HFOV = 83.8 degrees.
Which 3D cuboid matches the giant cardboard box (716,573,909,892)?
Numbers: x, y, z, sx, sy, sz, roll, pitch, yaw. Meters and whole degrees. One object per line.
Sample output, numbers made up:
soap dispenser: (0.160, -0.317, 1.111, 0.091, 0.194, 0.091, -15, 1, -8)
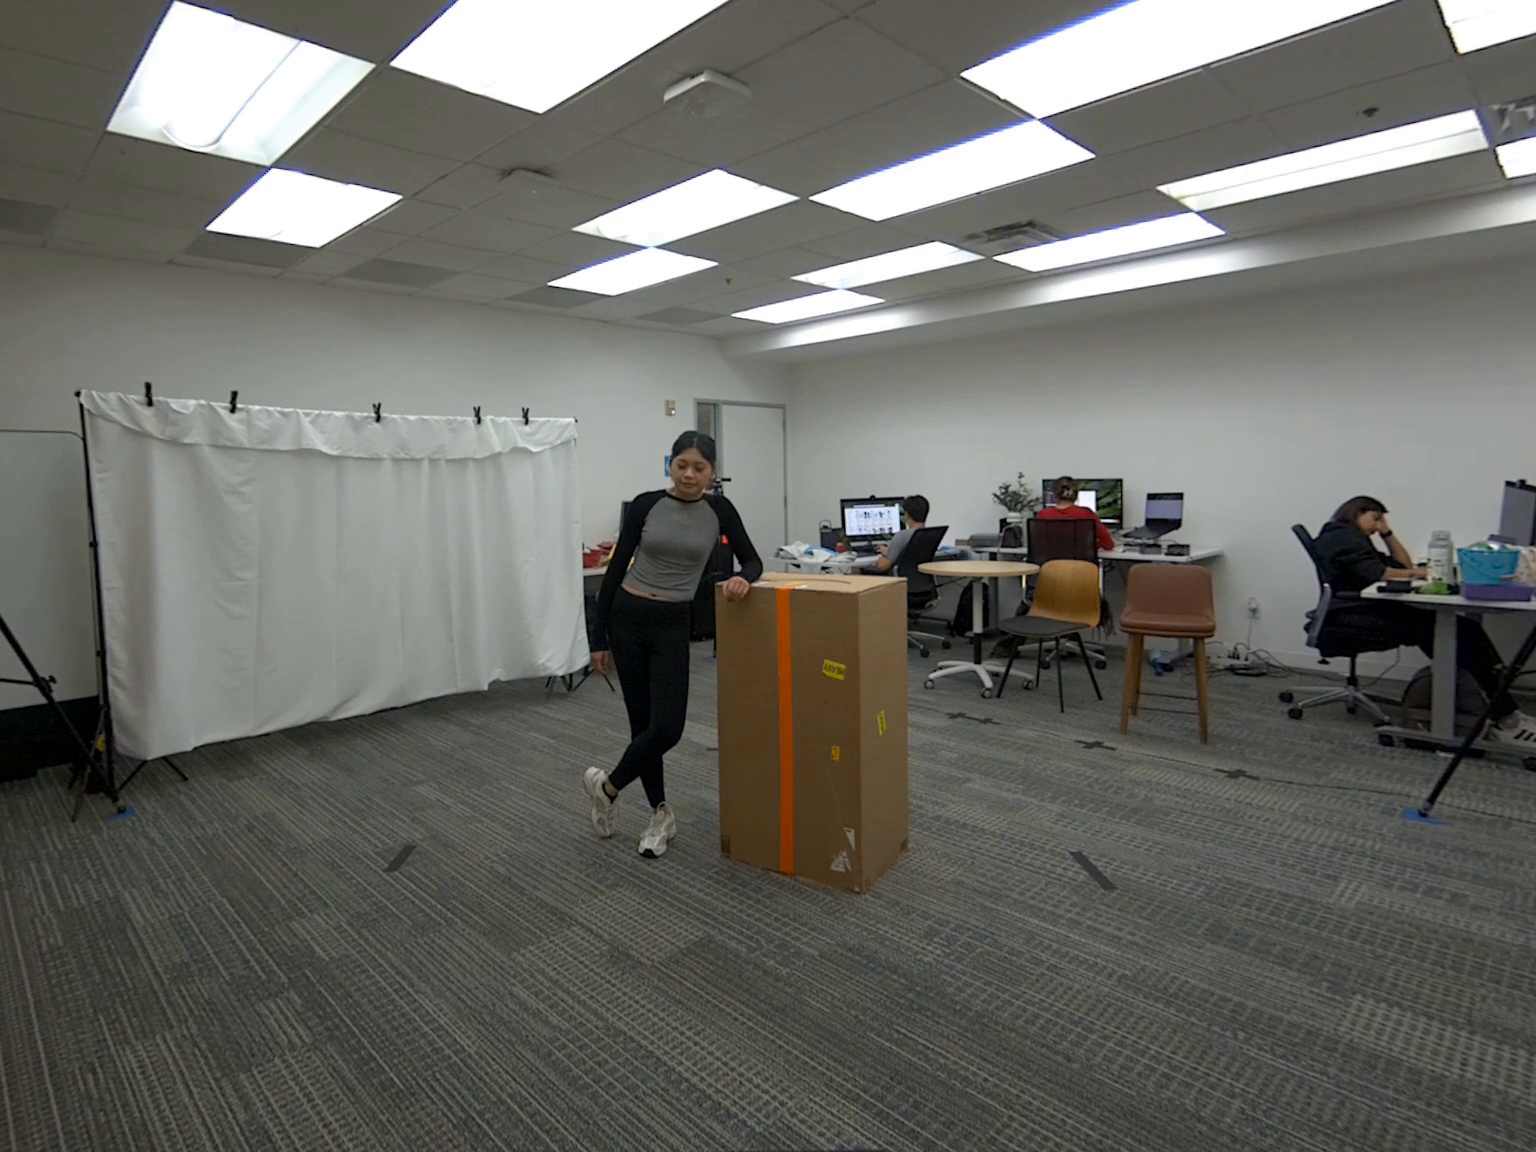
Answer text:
giant cardboard box: (0.170, 0.525, 3.151, 0.593, 1.022, 0.416, 1, 5, 34)
